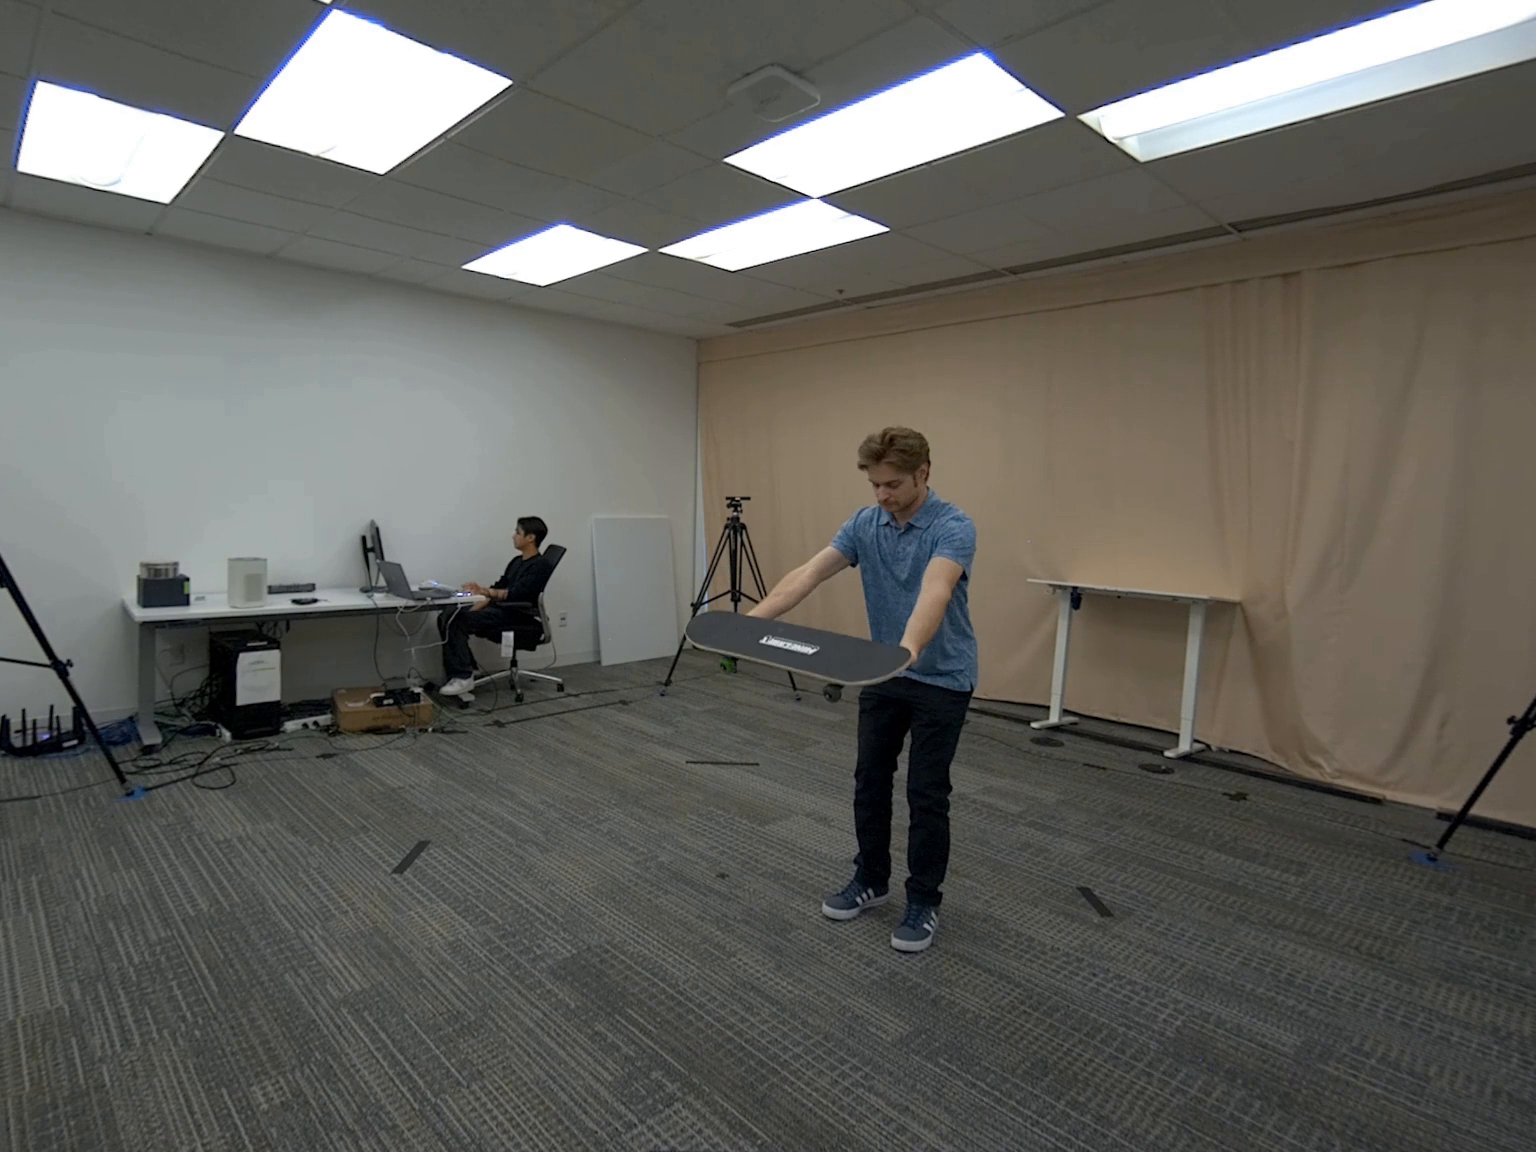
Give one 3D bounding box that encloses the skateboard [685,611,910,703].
[{"bbox_3d":[0.071,0.227,2.362,0.806,0.108,0.192,8,34,44],"label":"skateboard"}]
